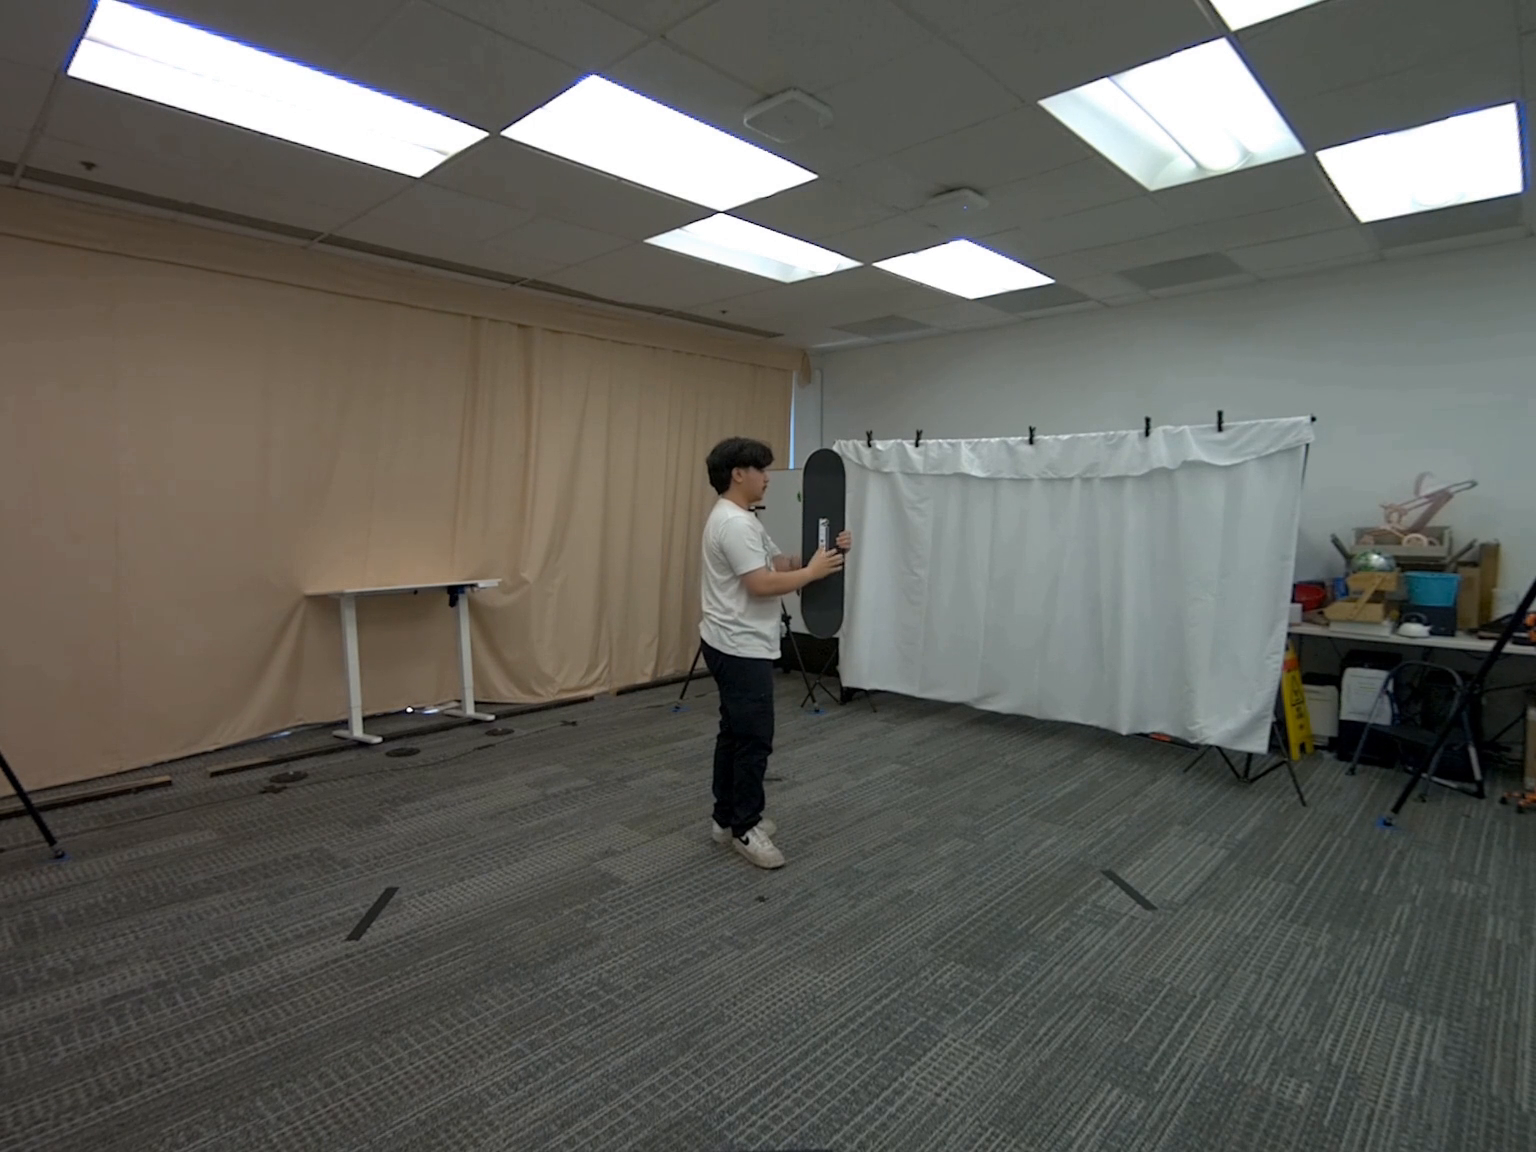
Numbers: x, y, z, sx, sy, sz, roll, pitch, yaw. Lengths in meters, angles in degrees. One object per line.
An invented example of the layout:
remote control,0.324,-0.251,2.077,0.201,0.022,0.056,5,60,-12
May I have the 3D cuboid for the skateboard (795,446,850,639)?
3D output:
skateboard,0.225,-0.139,3.533,0.191,0.787,0.112,1,-3,-13
